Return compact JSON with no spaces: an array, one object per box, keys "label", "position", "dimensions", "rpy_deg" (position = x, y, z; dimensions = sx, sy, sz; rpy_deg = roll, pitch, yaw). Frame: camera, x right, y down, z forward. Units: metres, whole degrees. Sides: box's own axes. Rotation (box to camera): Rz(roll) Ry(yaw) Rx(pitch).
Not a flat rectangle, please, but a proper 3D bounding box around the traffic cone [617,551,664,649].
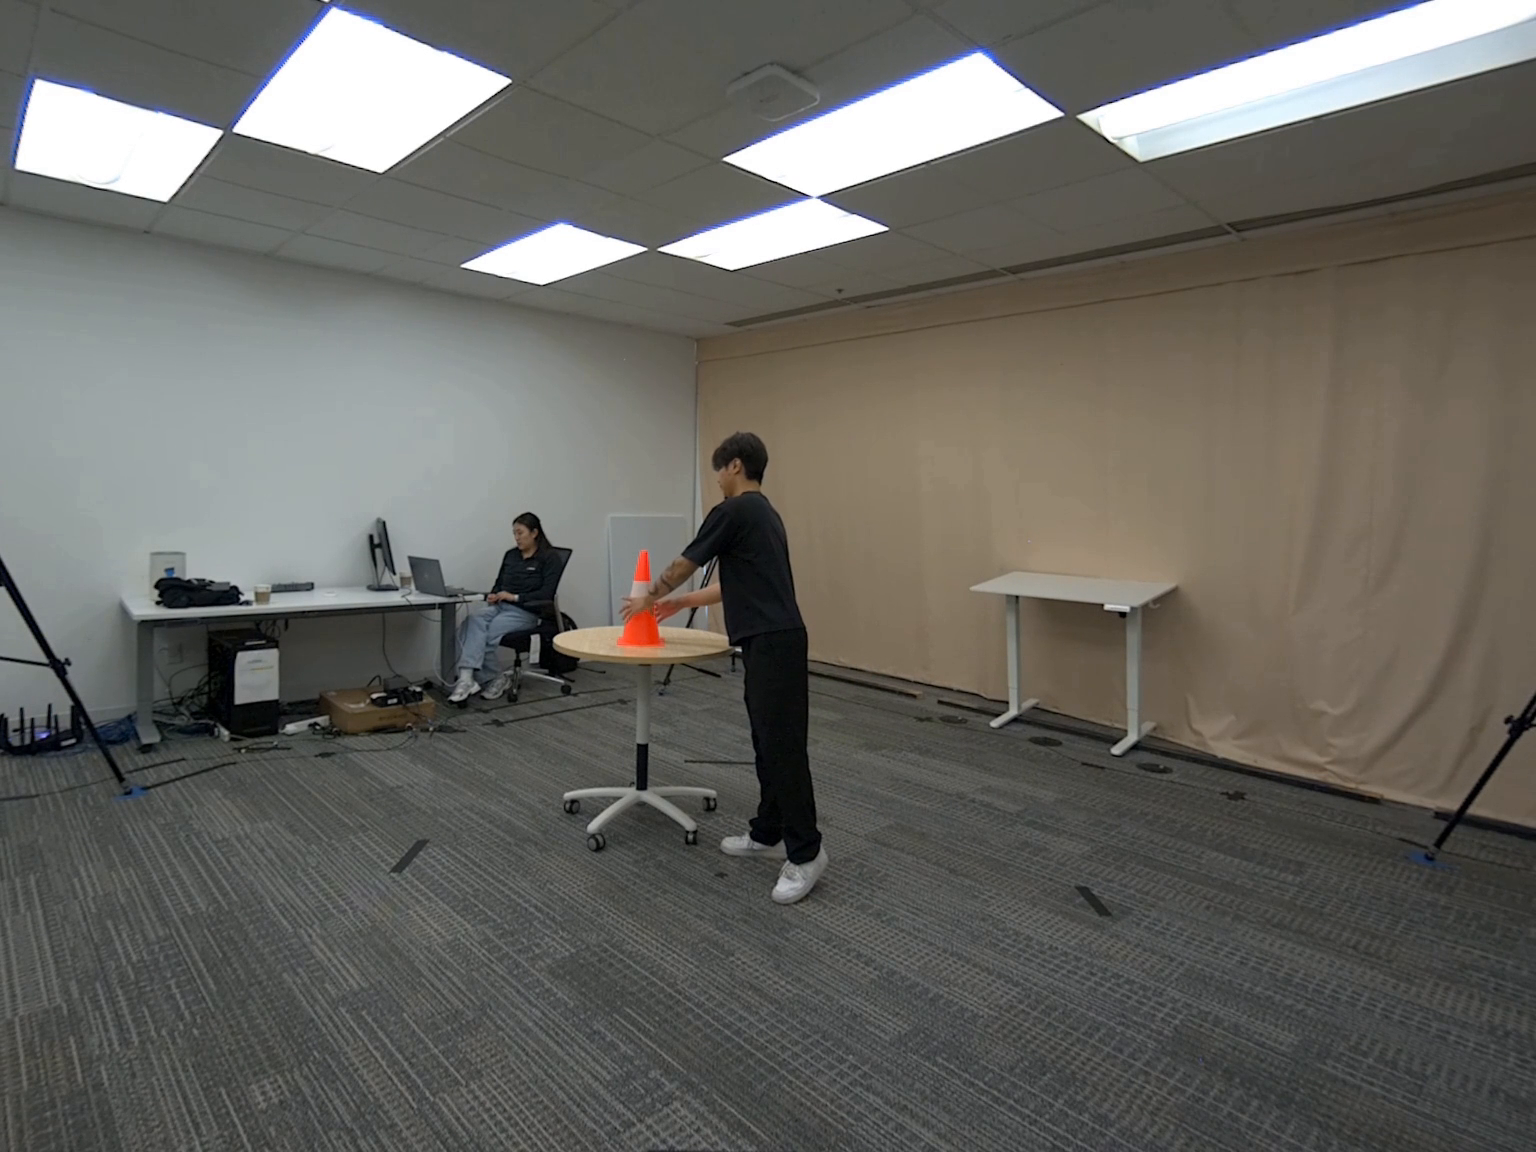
[{"label":"traffic cone","position":[-0.529,0.091,3.499],"dimensions":[0.203,0.382,0.205],"rpy_deg":[2,4,-9]}]
